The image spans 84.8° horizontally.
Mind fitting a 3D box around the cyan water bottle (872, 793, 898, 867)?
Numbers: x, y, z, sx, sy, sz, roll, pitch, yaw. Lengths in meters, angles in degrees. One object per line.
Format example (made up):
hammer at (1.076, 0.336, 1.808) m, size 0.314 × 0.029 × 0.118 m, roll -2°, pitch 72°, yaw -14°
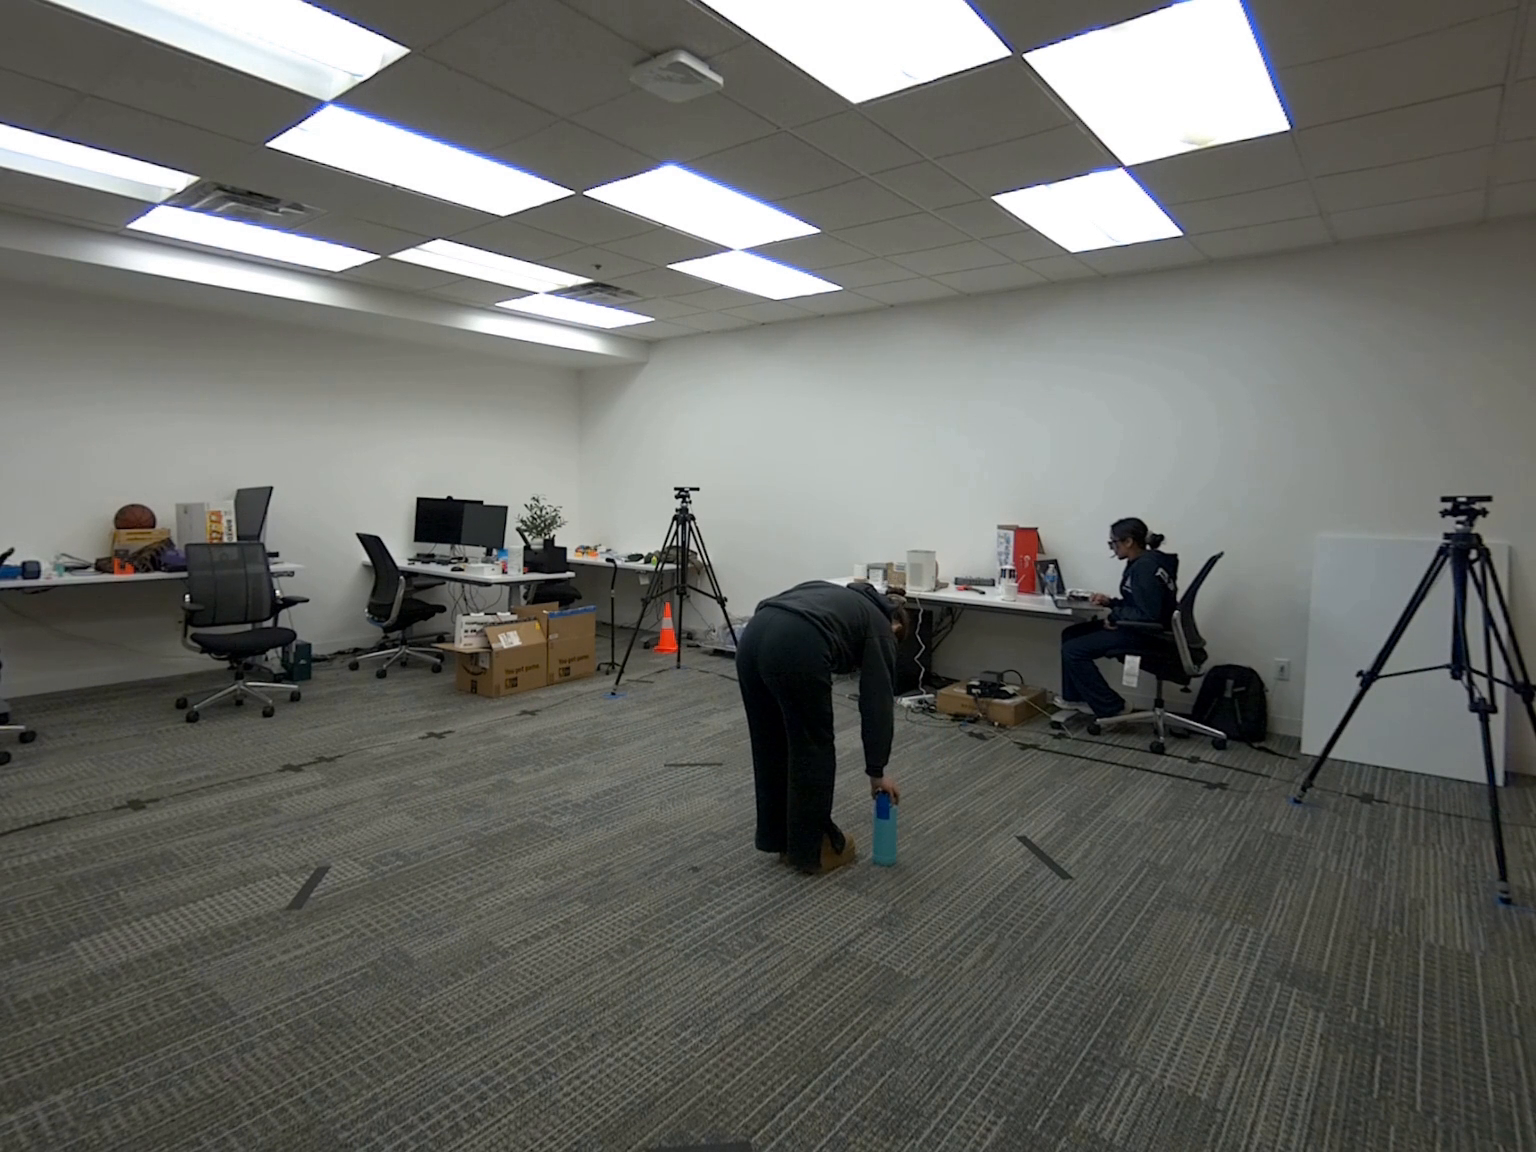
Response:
cyan water bottle at (0.444, 0.927, 3.198) m, size 0.092 × 0.282 × 0.093 m, roll 1°, pitch 6°, yaw -2°
